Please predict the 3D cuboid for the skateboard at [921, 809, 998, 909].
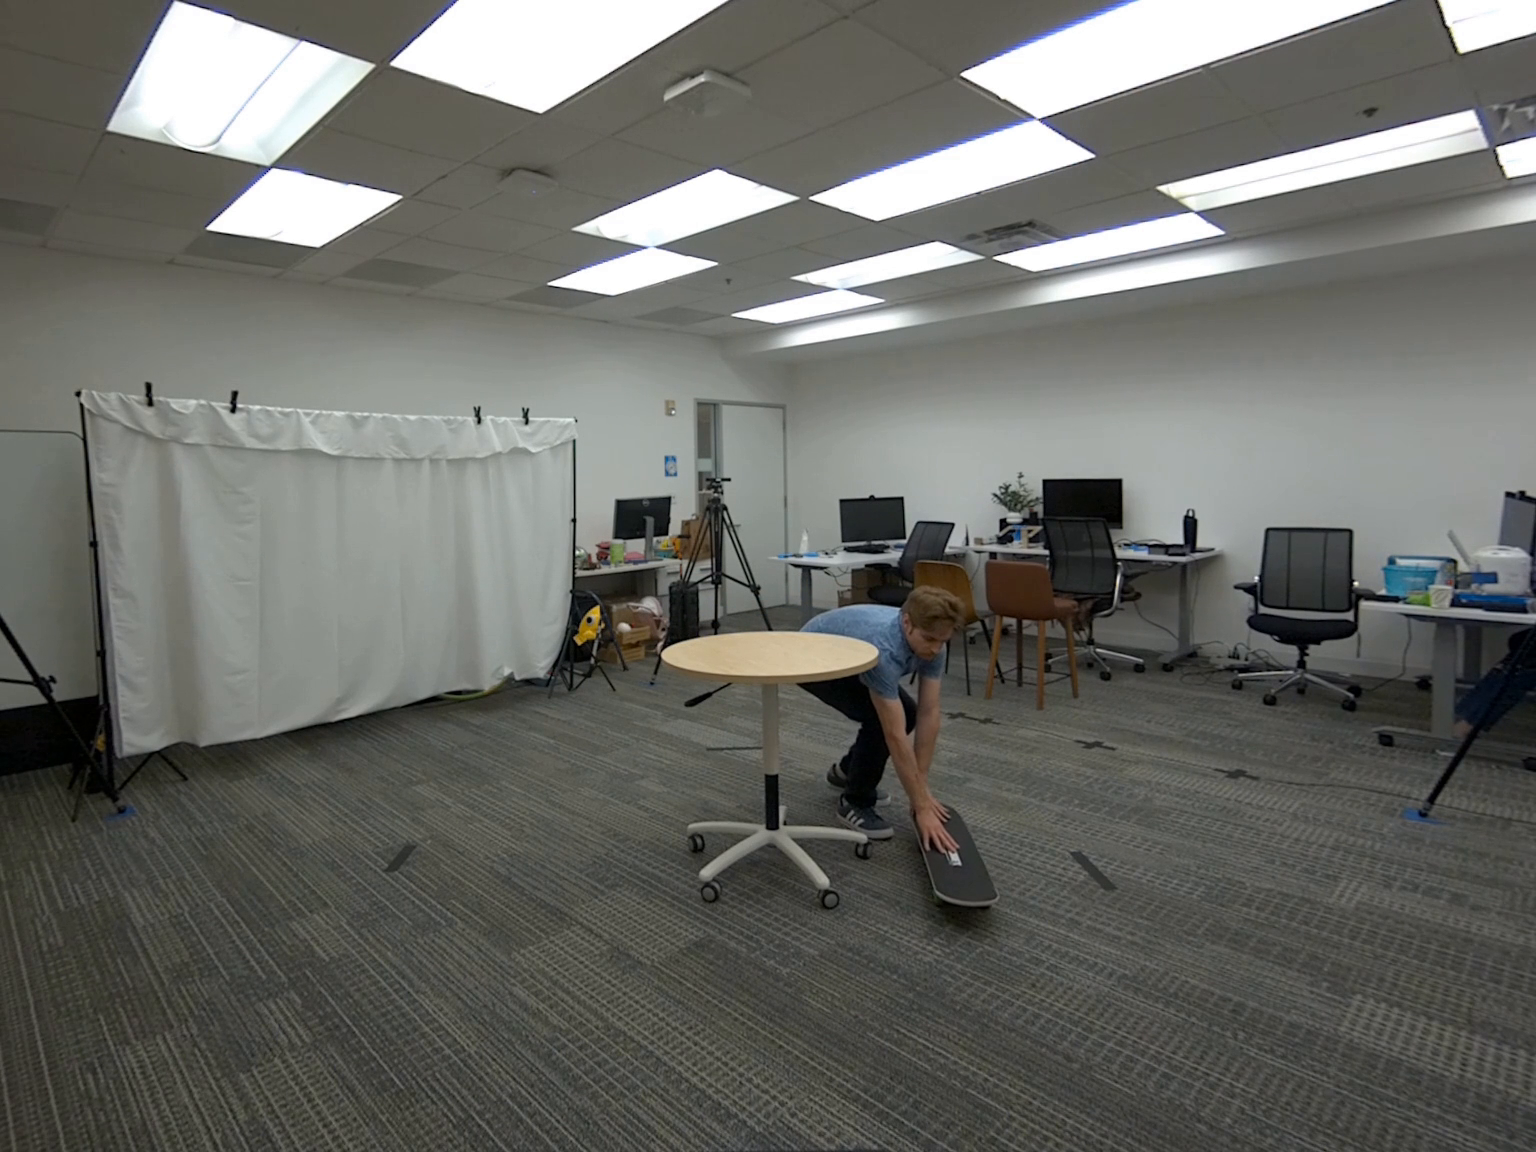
[{"bbox_3d":[0.643,0.999,2.961,0.194,0.110,0.784,-1,7,5],"label":"skateboard"}]
